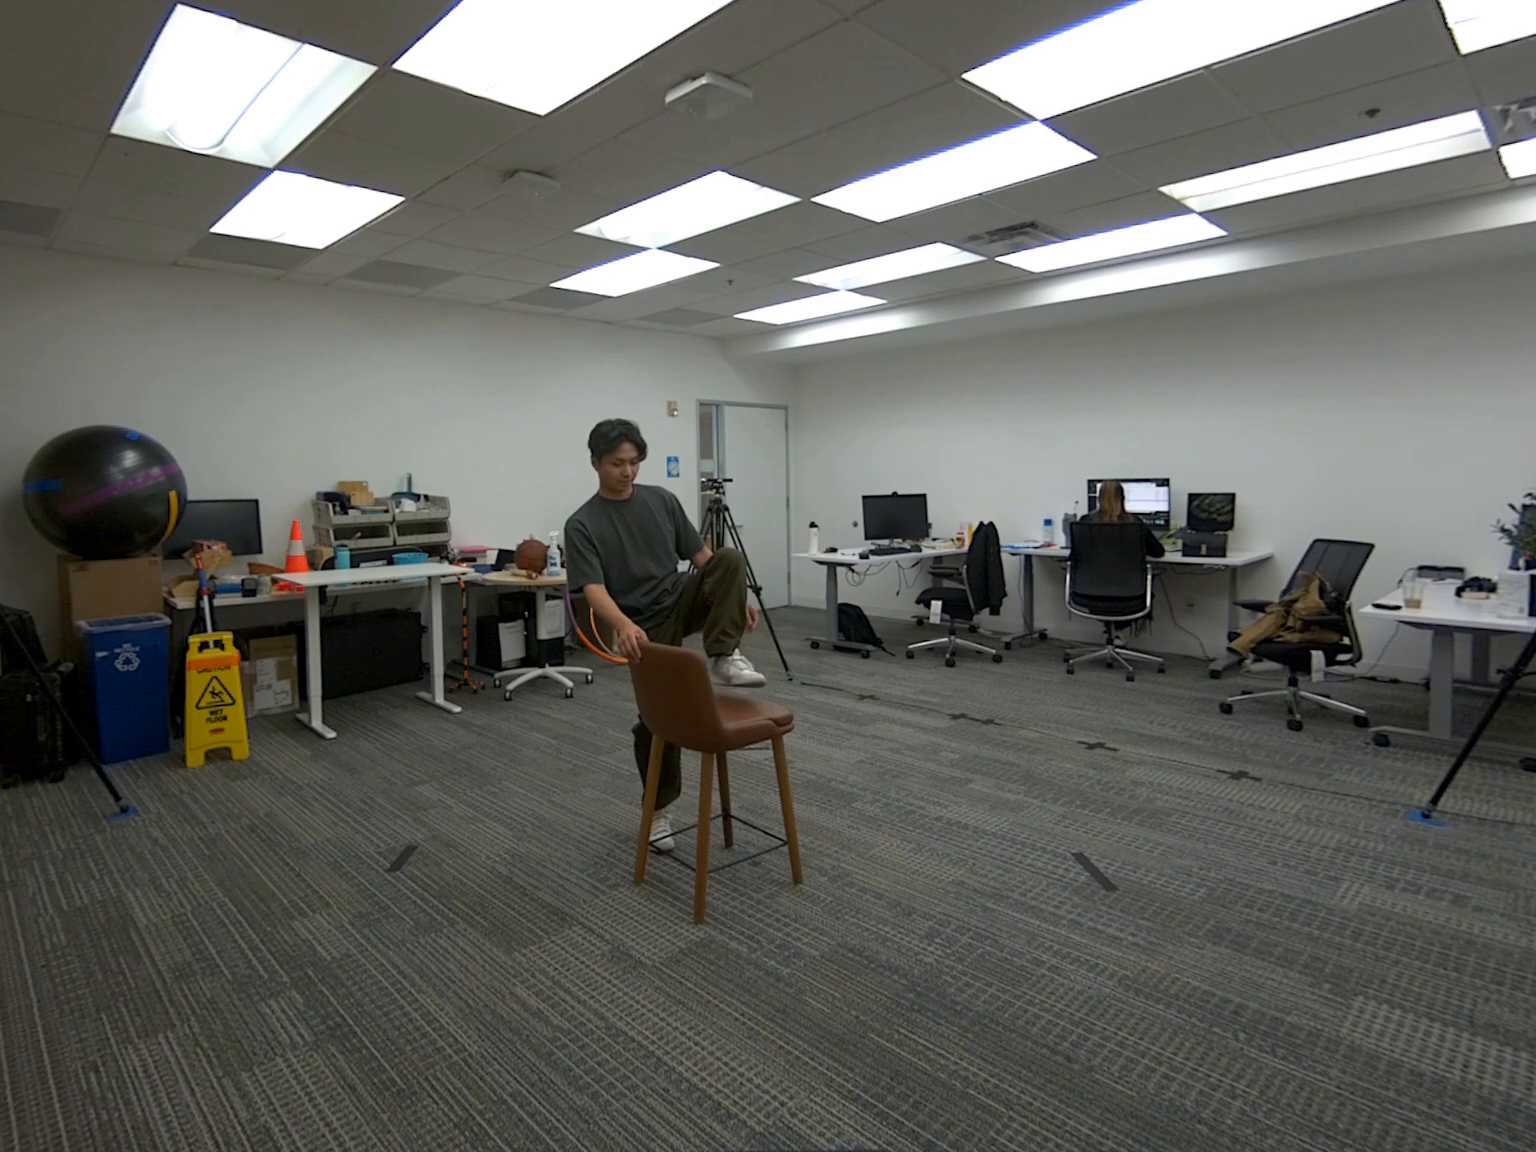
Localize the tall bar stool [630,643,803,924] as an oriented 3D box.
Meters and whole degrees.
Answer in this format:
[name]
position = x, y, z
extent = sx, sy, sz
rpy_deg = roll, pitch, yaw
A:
[tall bar stool]
position = -0.184, 0.629, 2.935
extent = 0.456, 0.885, 0.471
rpy_deg = -6, 7, -40
